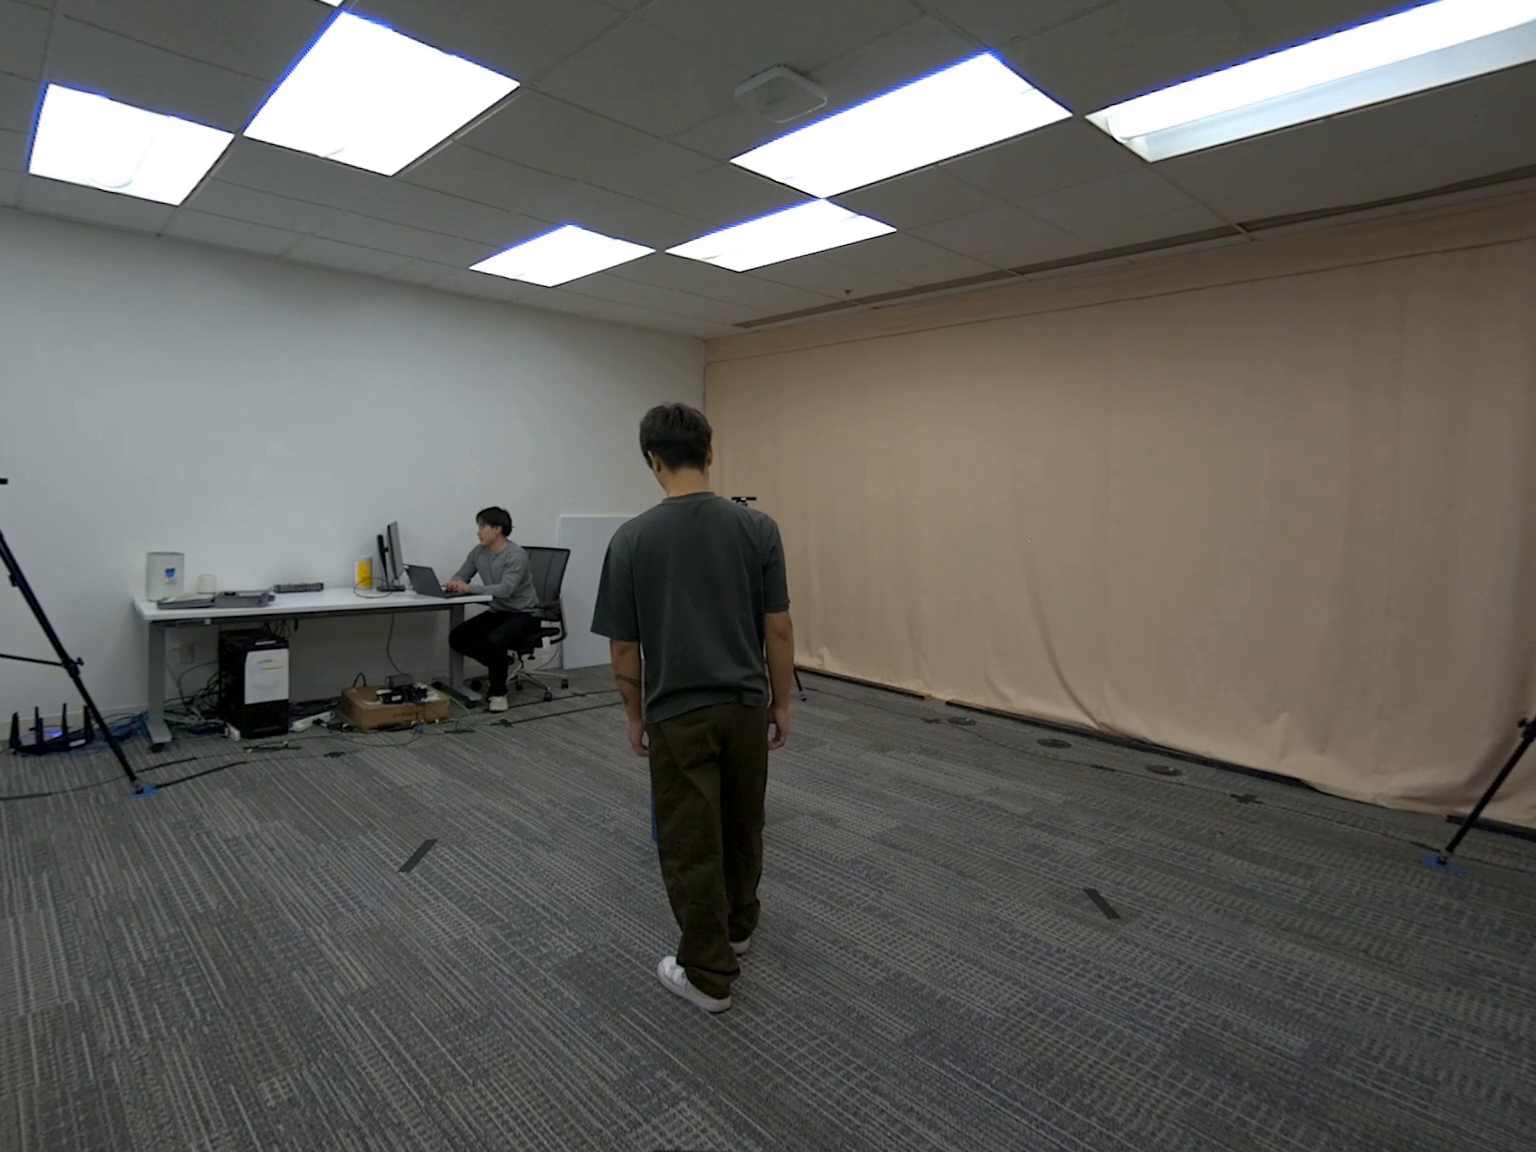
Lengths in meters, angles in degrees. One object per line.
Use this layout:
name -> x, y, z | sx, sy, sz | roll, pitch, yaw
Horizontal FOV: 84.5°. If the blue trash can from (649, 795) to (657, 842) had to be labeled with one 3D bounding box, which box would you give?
blue trash can -> -0.259, 0.726, 3.365 | 0.366, 0.711, 0.387 | -2, 5, -33
